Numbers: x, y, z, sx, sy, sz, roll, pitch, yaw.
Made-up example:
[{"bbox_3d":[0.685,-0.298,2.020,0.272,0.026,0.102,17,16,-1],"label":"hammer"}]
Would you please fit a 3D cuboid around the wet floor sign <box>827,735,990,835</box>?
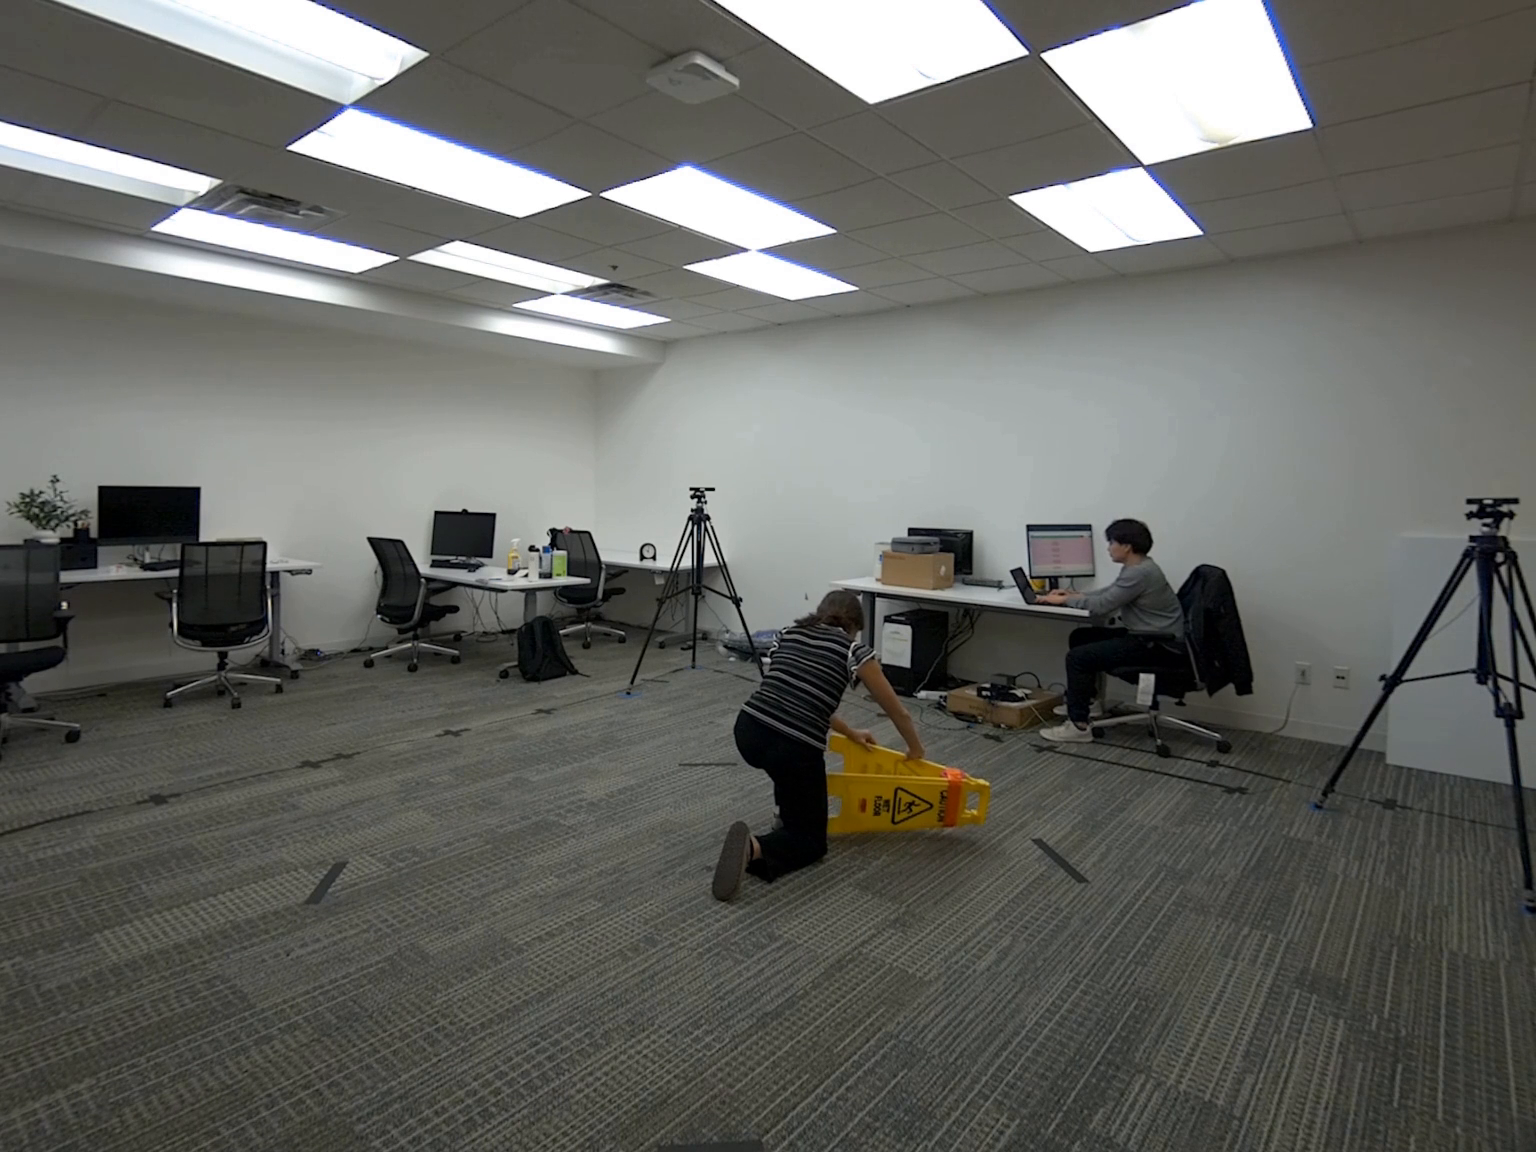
[{"bbox_3d":[0.552,0.879,3.445,0.652,0.277,0.292,5,20,8],"label":"wet floor sign"}]
